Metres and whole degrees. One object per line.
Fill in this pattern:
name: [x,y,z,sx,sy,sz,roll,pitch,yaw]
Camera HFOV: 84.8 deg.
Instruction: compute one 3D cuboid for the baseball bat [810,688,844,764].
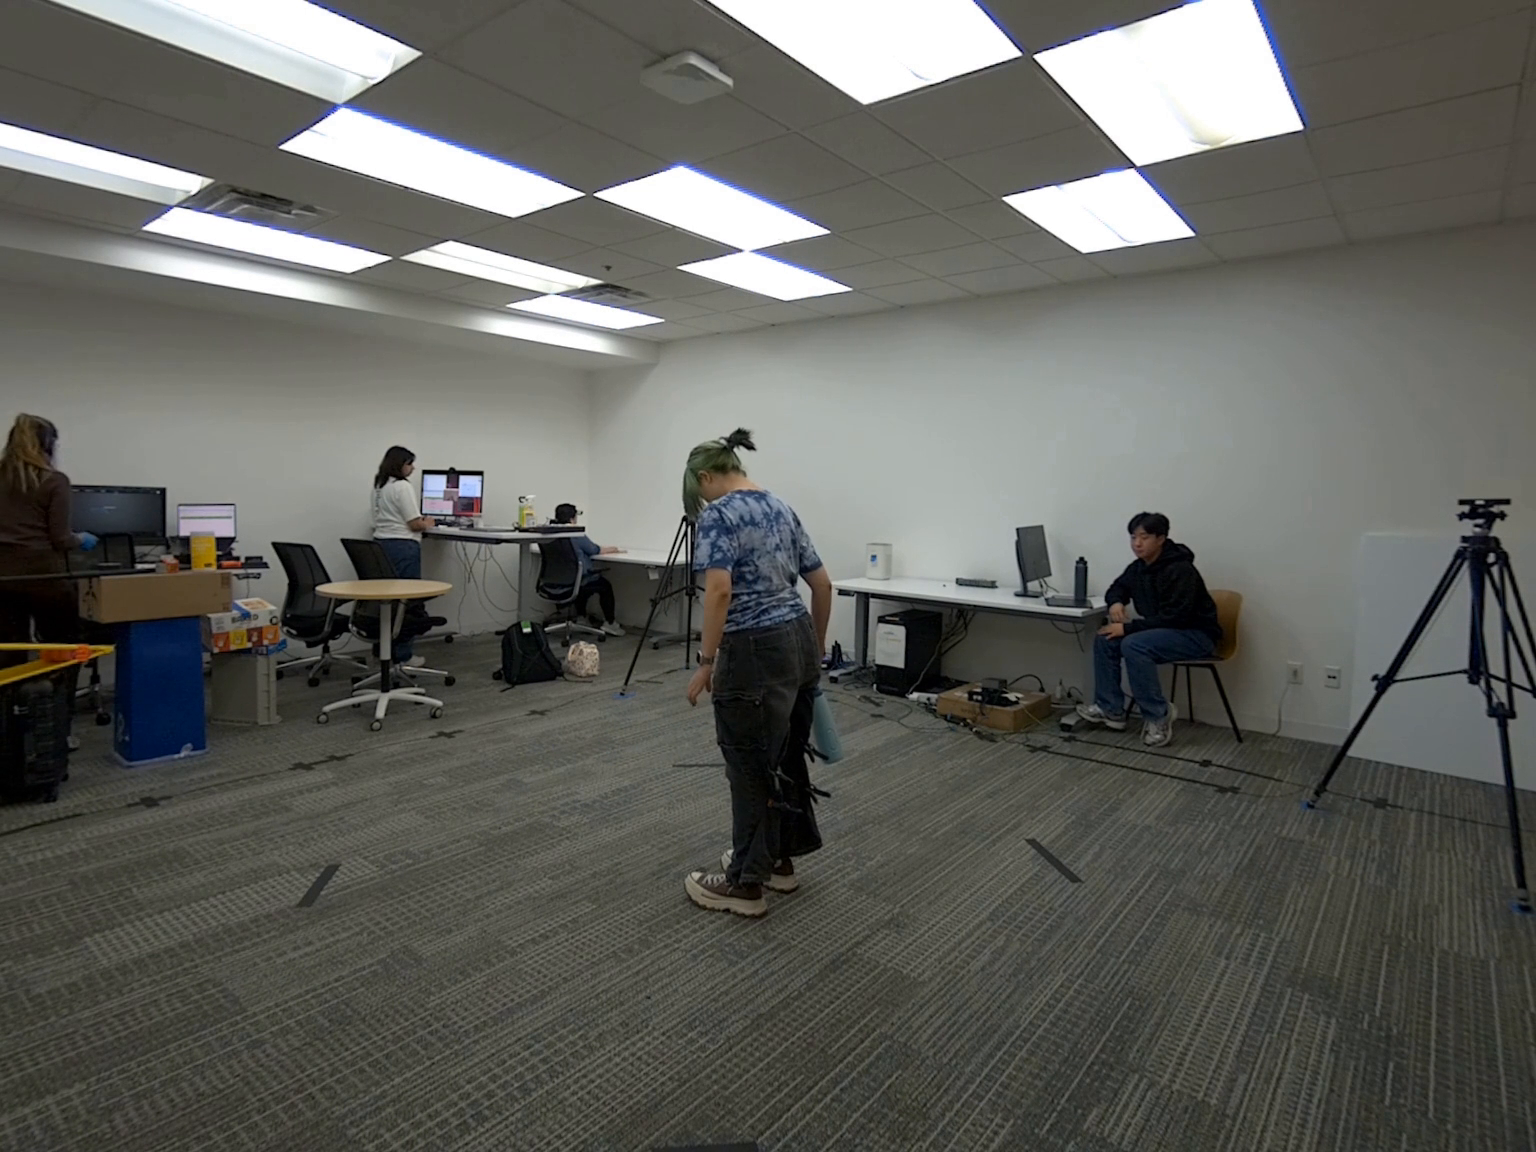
baseball bat: [0.151,0.421,3.121,0.089,0.543,0.089,-17,0,-1]
